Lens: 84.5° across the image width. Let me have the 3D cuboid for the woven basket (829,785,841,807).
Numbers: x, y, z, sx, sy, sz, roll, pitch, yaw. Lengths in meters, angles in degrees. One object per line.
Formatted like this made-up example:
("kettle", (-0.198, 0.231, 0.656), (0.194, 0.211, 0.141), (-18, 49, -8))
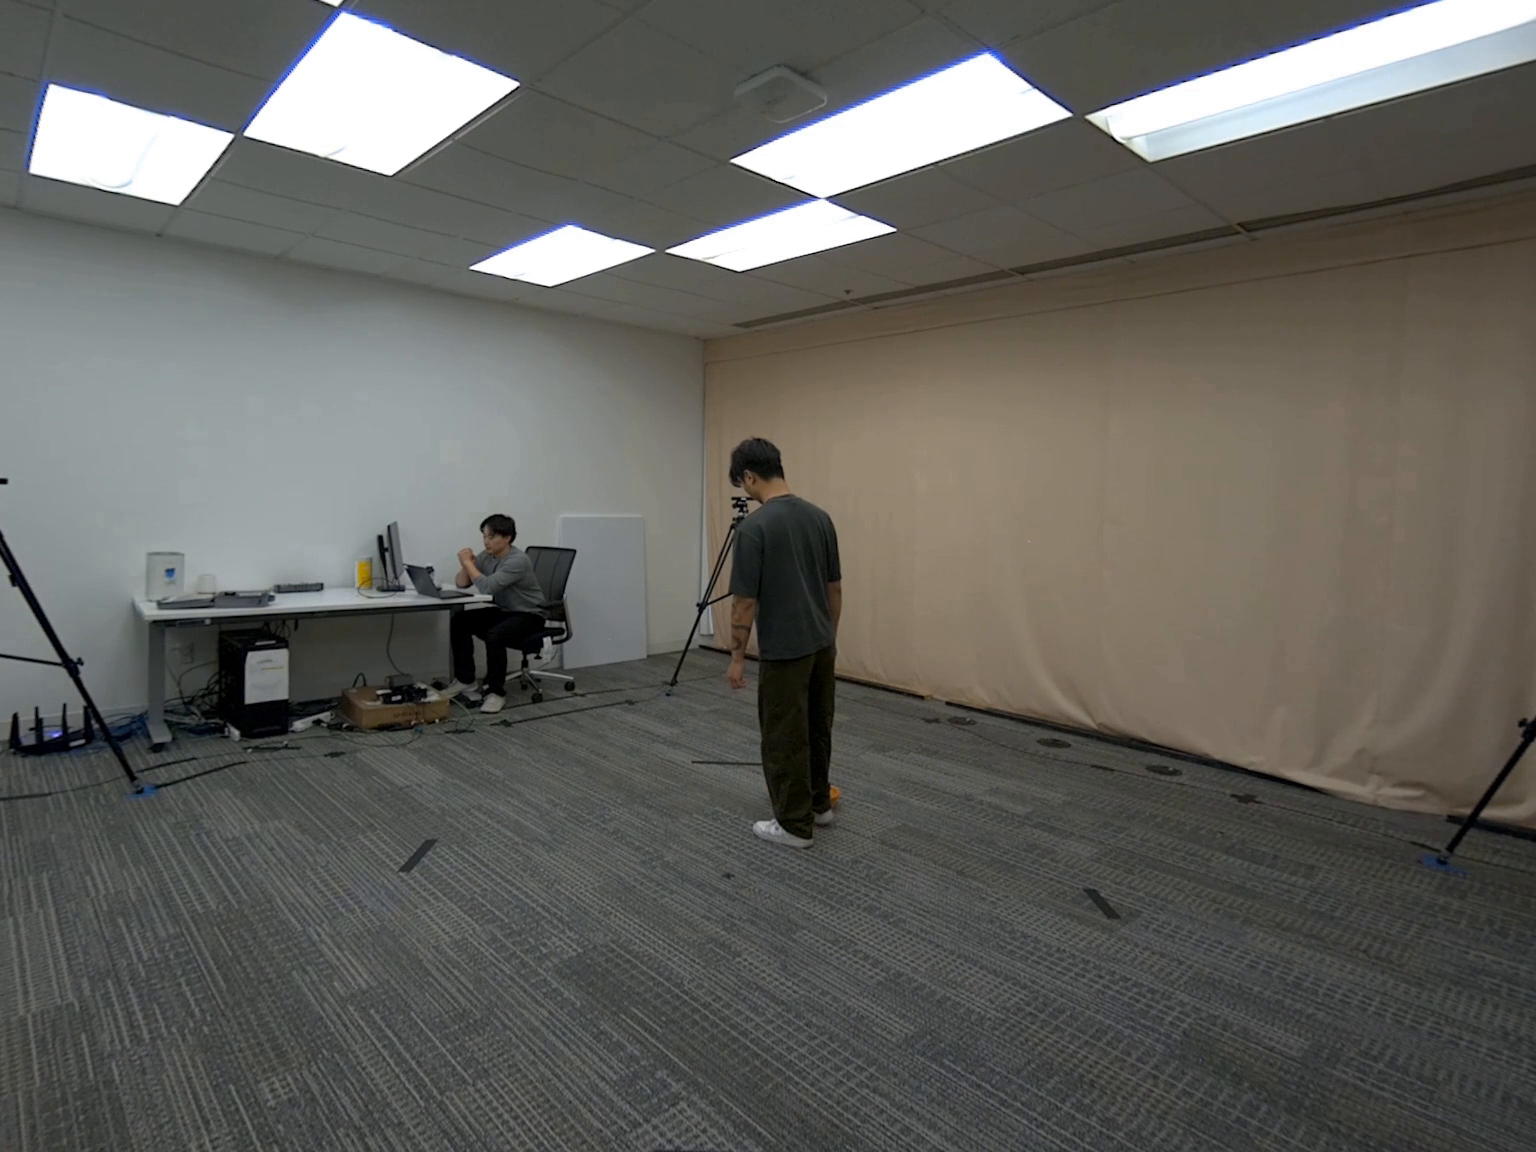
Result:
("woven basket", (0.151, 1.013, 3.883), (0.358, 0.073, 0.247), (4, 4, 30))
